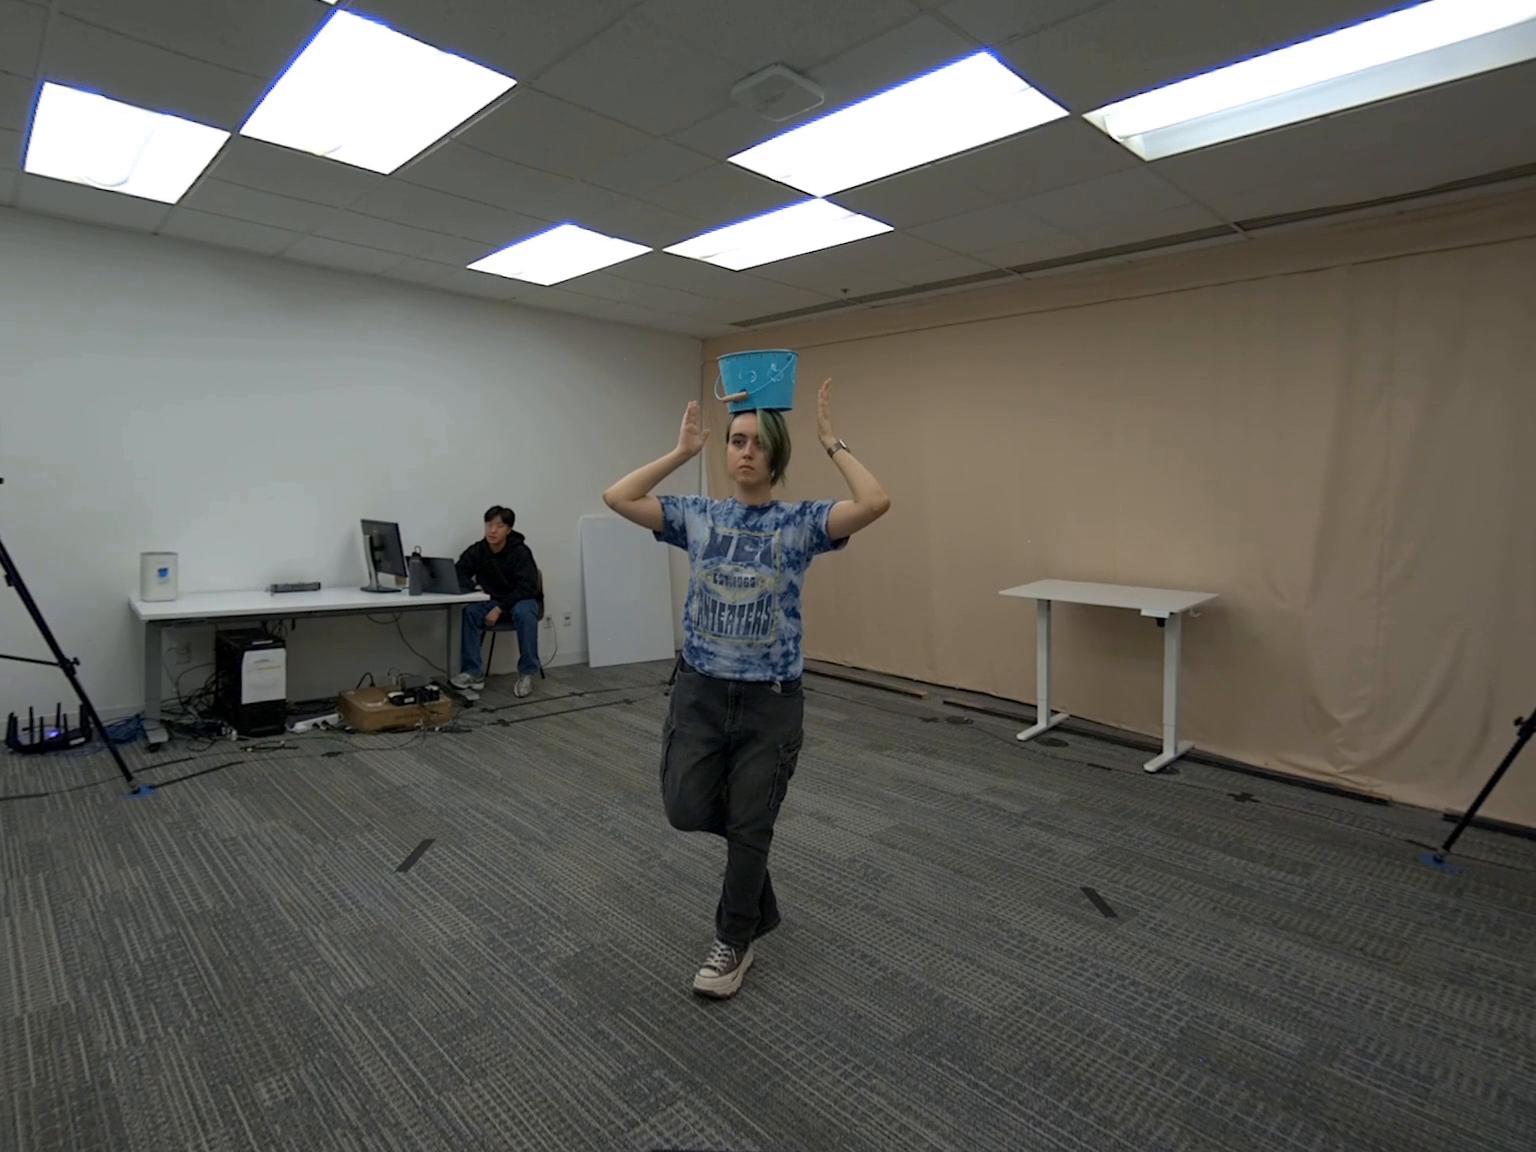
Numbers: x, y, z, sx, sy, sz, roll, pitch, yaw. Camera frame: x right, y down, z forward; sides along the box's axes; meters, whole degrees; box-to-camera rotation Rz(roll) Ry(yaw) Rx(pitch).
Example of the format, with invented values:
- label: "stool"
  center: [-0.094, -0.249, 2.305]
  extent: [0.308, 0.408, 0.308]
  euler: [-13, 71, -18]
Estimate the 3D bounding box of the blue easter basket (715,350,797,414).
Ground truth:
- label: "blue easter basket"
  center: [-0.026, -0.534, 2.363]
  extent: [0.243, 0.155, 0.244]
  euler: [-3, 5, -1]
